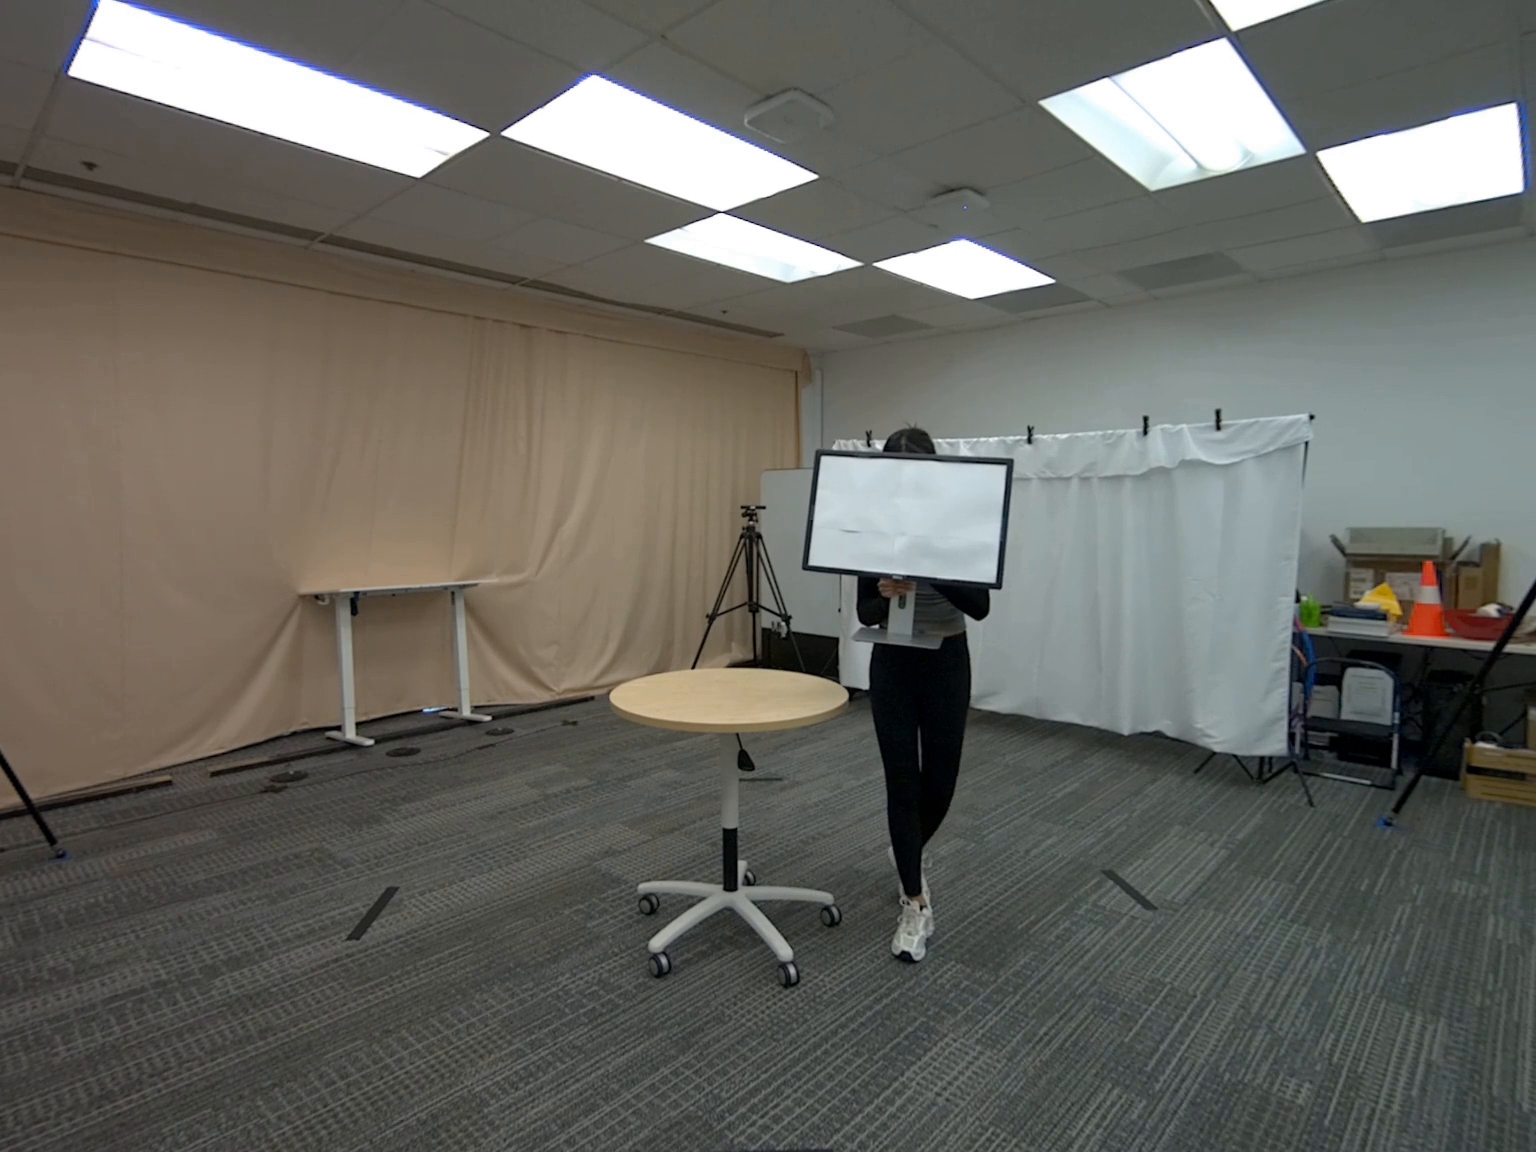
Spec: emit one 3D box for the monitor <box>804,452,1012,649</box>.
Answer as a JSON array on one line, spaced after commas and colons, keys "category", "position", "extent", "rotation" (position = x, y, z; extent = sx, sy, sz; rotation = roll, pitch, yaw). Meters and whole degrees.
[{"category": "monitor", "position": [0.396, -0.080, 2.435], "extent": [0.550, 0.521, 0.184], "rotation": [6, 6, 18]}]
